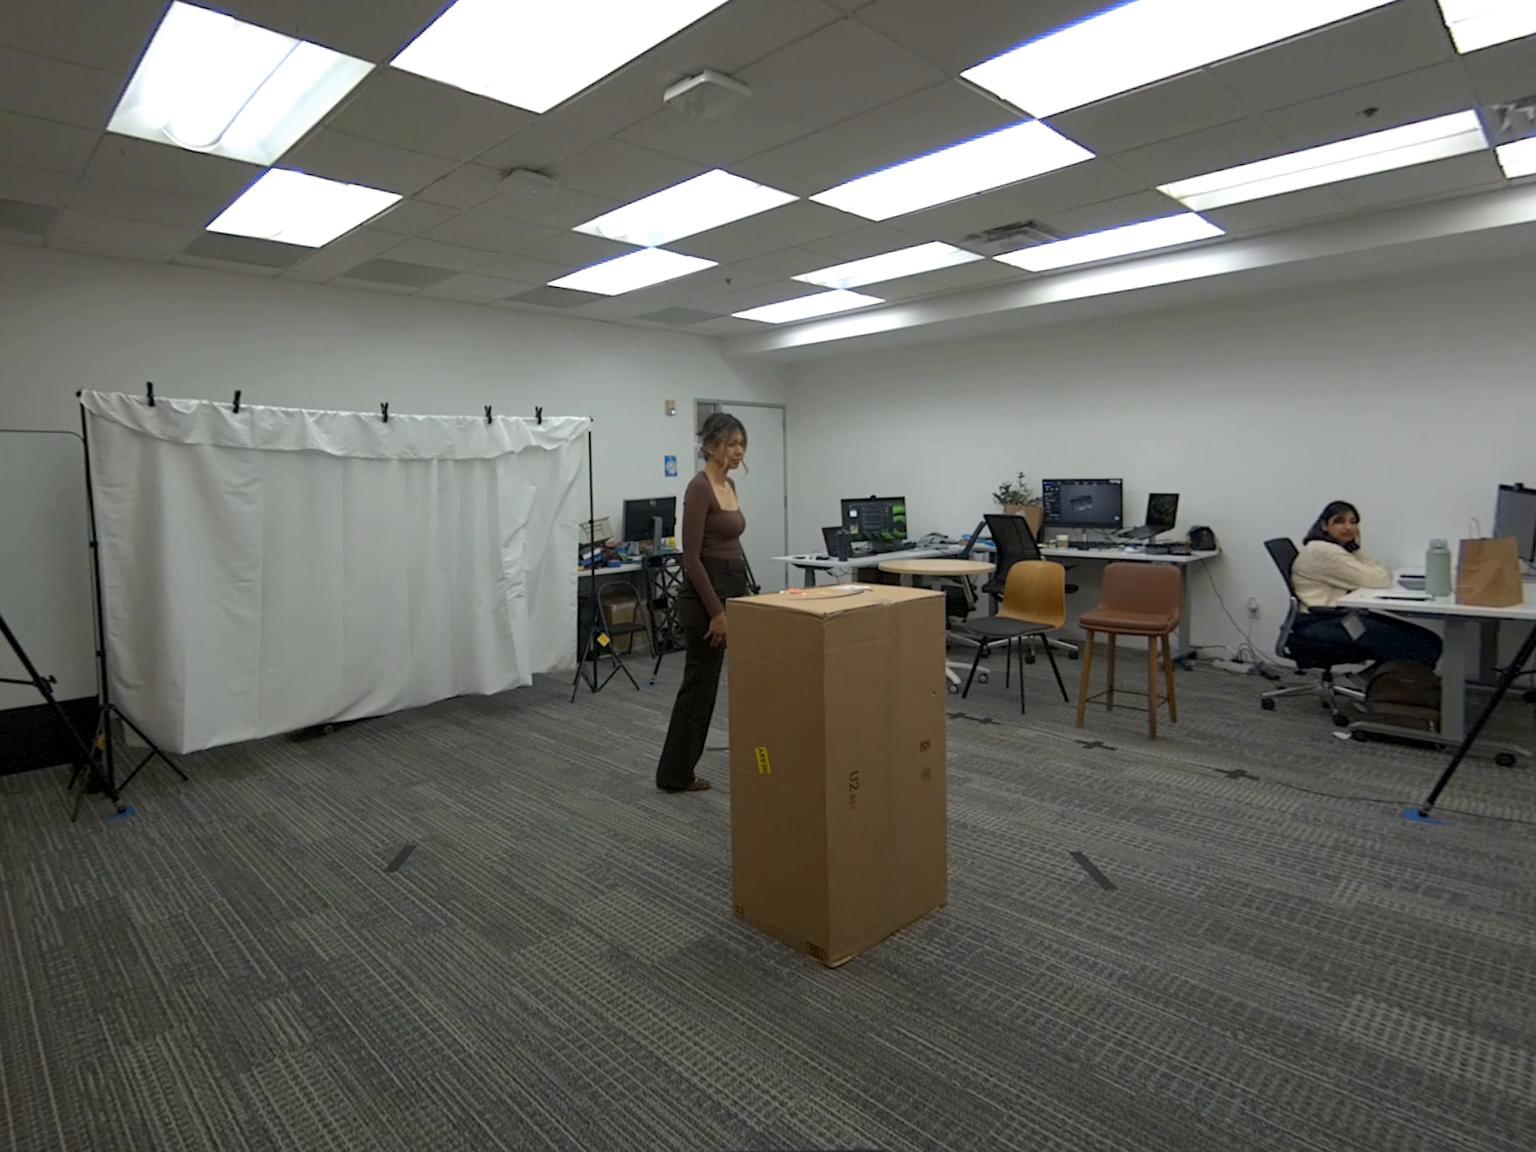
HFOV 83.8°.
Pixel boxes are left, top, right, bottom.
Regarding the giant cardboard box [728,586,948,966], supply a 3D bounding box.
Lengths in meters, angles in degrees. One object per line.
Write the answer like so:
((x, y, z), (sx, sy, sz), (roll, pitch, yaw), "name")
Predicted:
((0.228, 0.569, 2.738), (0.568, 1.024, 0.460), (-5, 5, -40), "giant cardboard box")
